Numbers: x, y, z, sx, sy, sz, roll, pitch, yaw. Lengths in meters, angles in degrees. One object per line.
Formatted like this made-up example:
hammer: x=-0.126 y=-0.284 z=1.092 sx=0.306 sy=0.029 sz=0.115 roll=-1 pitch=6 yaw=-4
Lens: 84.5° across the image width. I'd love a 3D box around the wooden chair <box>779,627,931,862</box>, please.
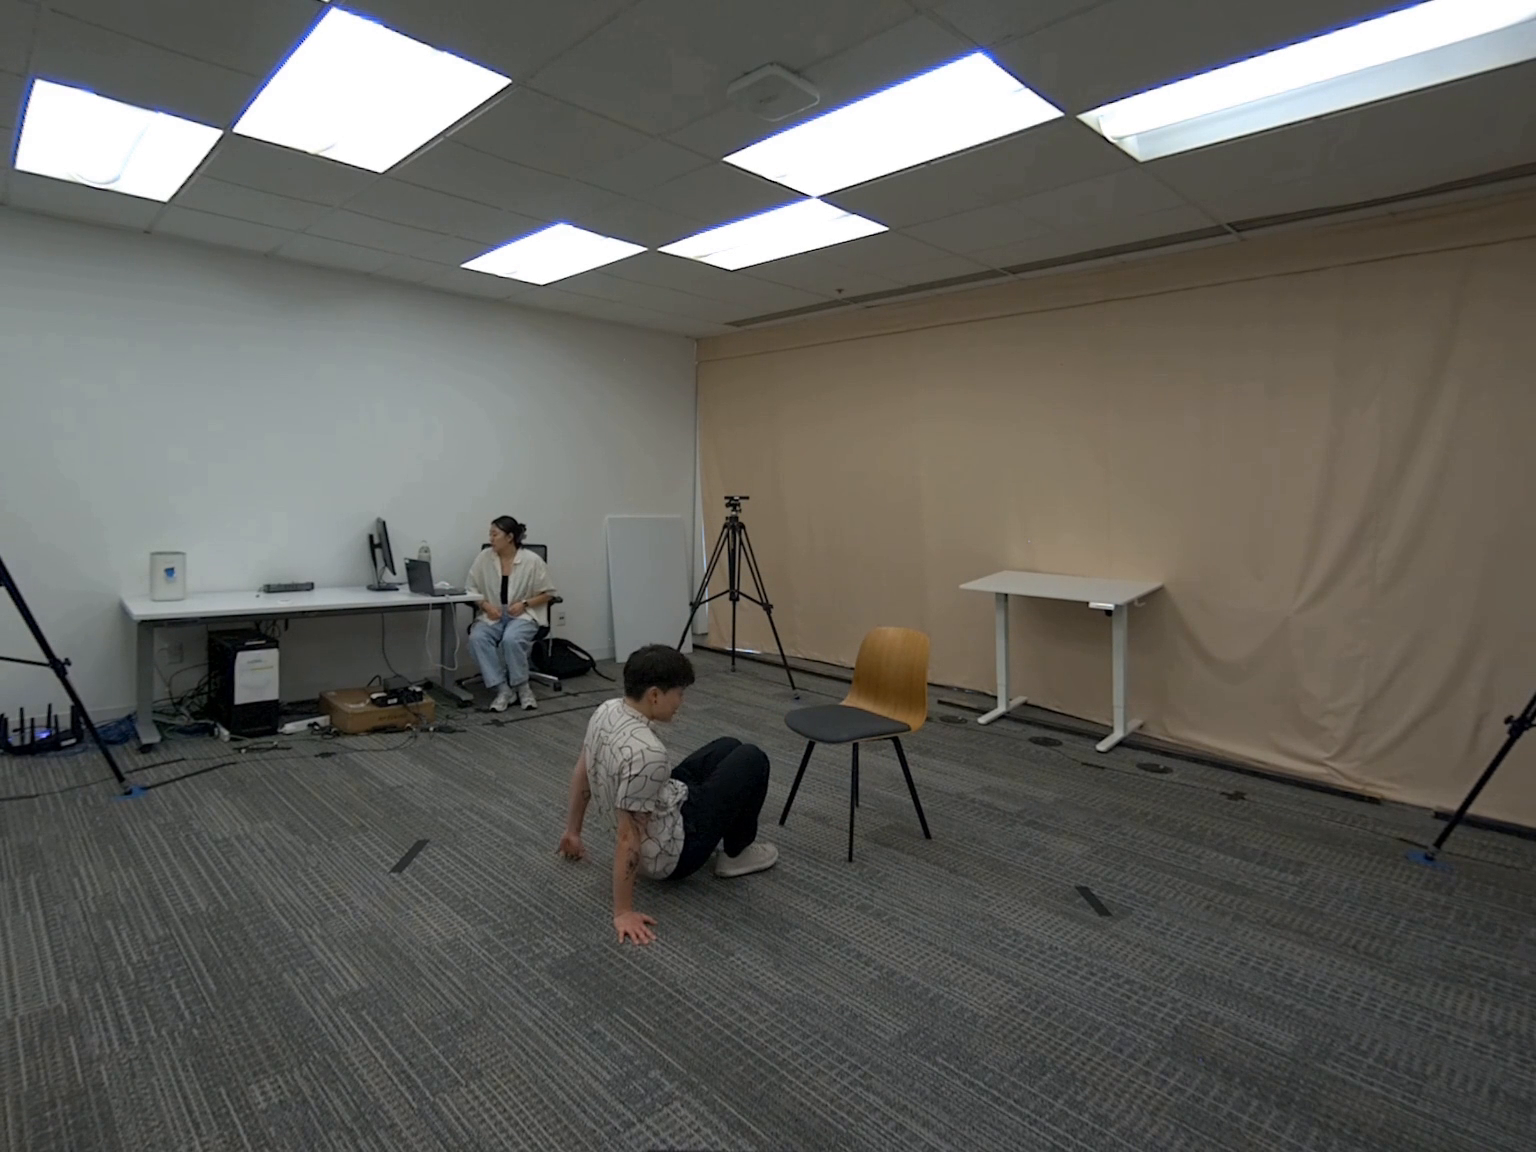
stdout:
wooden chair: x=0.362 y=0.653 z=3.512 sx=0.510 sy=0.877 sz=0.490 roll=5 pitch=1 yaw=-36
